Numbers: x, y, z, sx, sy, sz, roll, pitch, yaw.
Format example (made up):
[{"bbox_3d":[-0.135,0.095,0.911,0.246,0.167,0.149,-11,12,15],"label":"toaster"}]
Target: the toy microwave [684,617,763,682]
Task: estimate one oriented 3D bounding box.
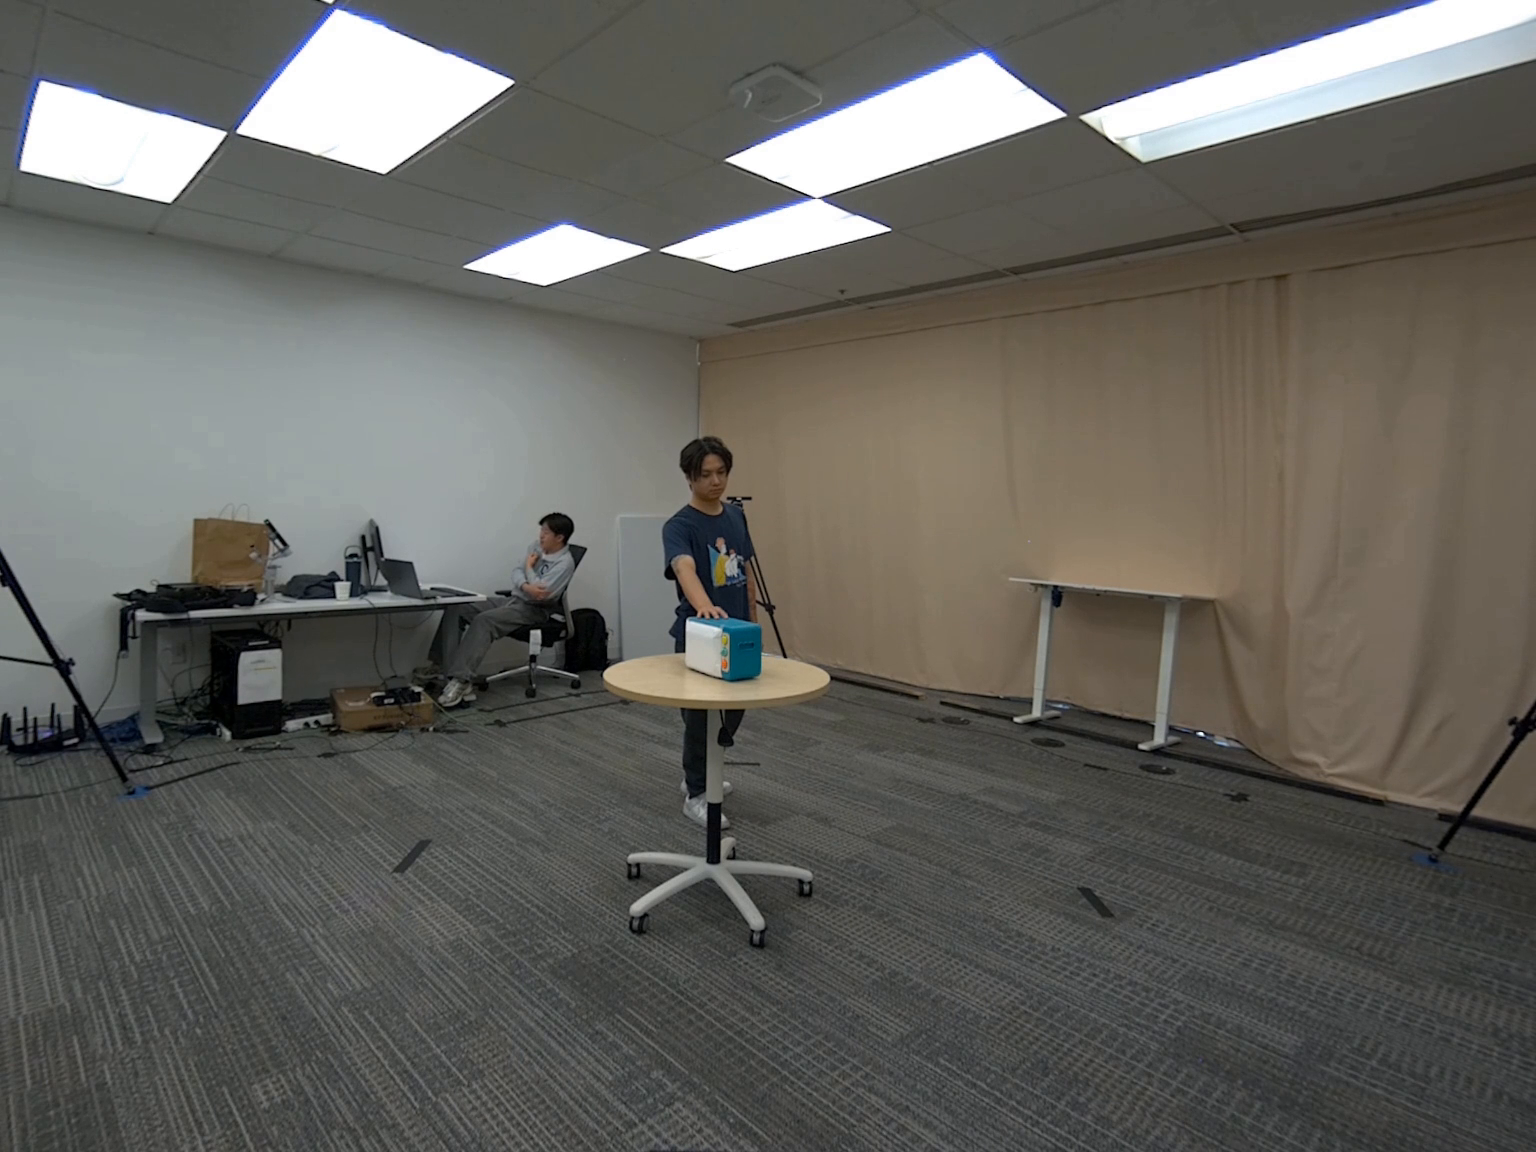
[{"bbox_3d":[-0.169,0.244,2.843,0.149,0.184,0.293,-2,5,-36],"label":"toy microwave"}]
